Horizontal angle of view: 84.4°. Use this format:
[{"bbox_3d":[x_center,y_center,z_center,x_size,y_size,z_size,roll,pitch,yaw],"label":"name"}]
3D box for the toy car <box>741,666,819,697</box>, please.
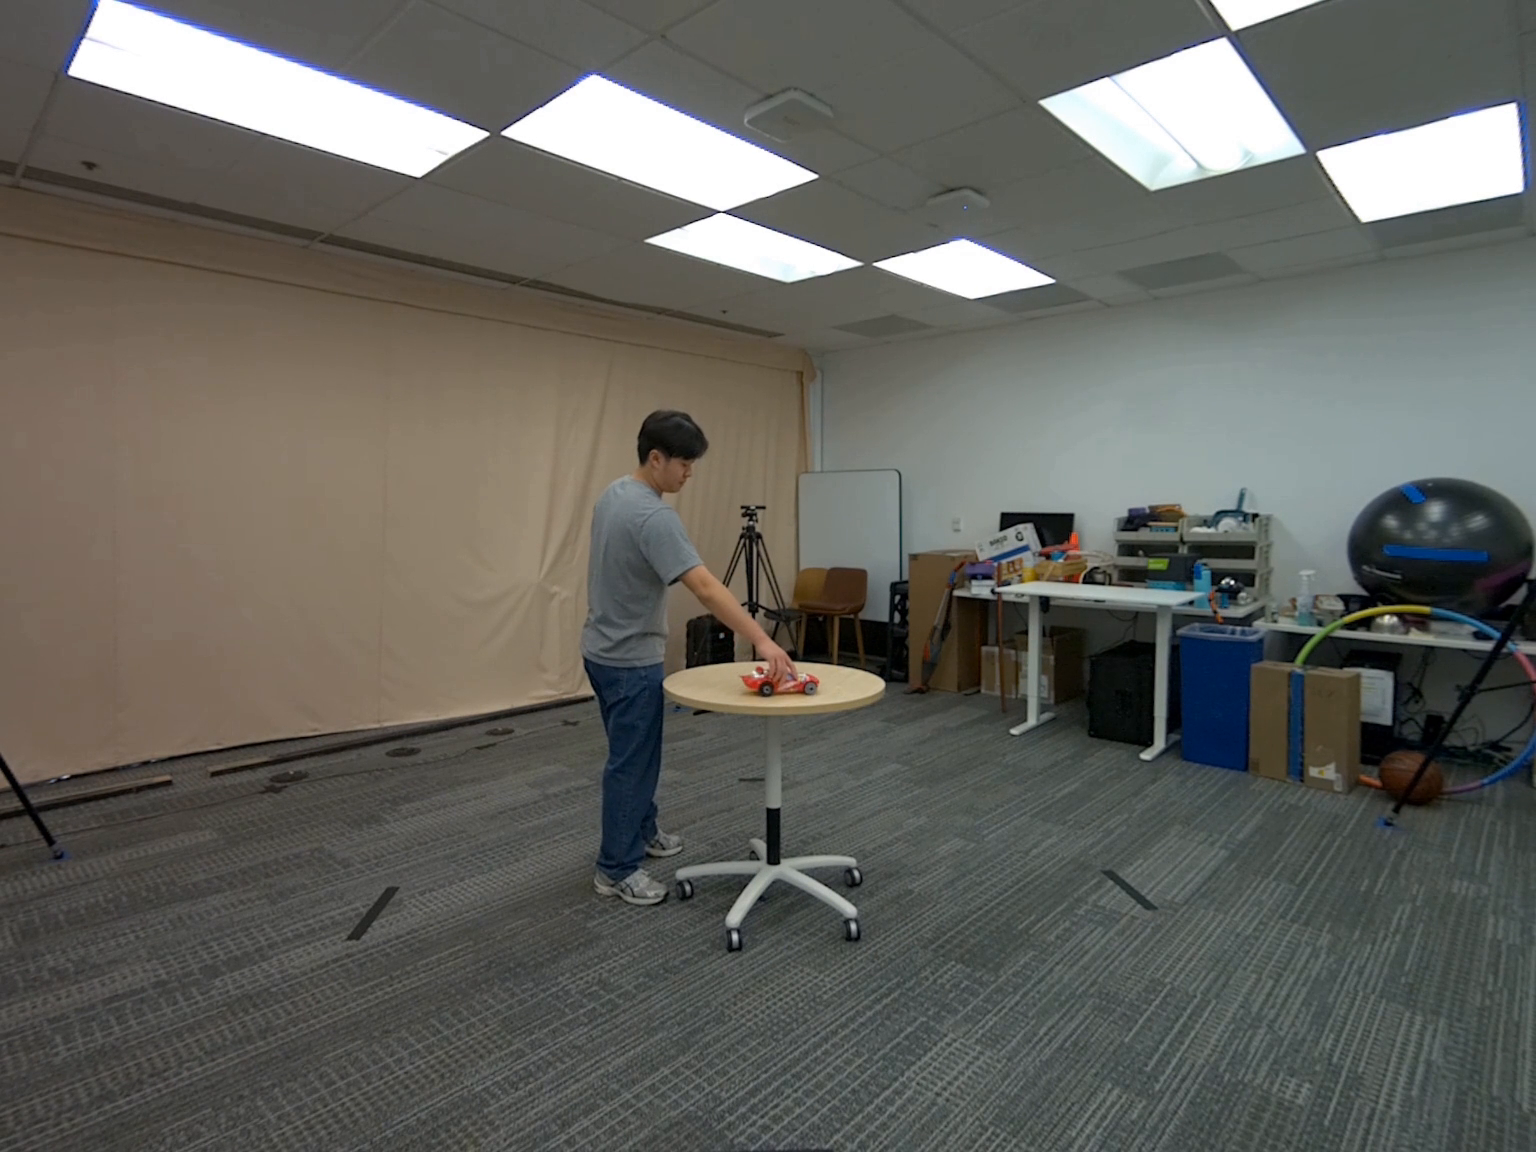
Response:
[{"bbox_3d":[0.037,0.350,2.729,0.252,0.083,0.132,9,1,-10],"label":"toy car"}]
